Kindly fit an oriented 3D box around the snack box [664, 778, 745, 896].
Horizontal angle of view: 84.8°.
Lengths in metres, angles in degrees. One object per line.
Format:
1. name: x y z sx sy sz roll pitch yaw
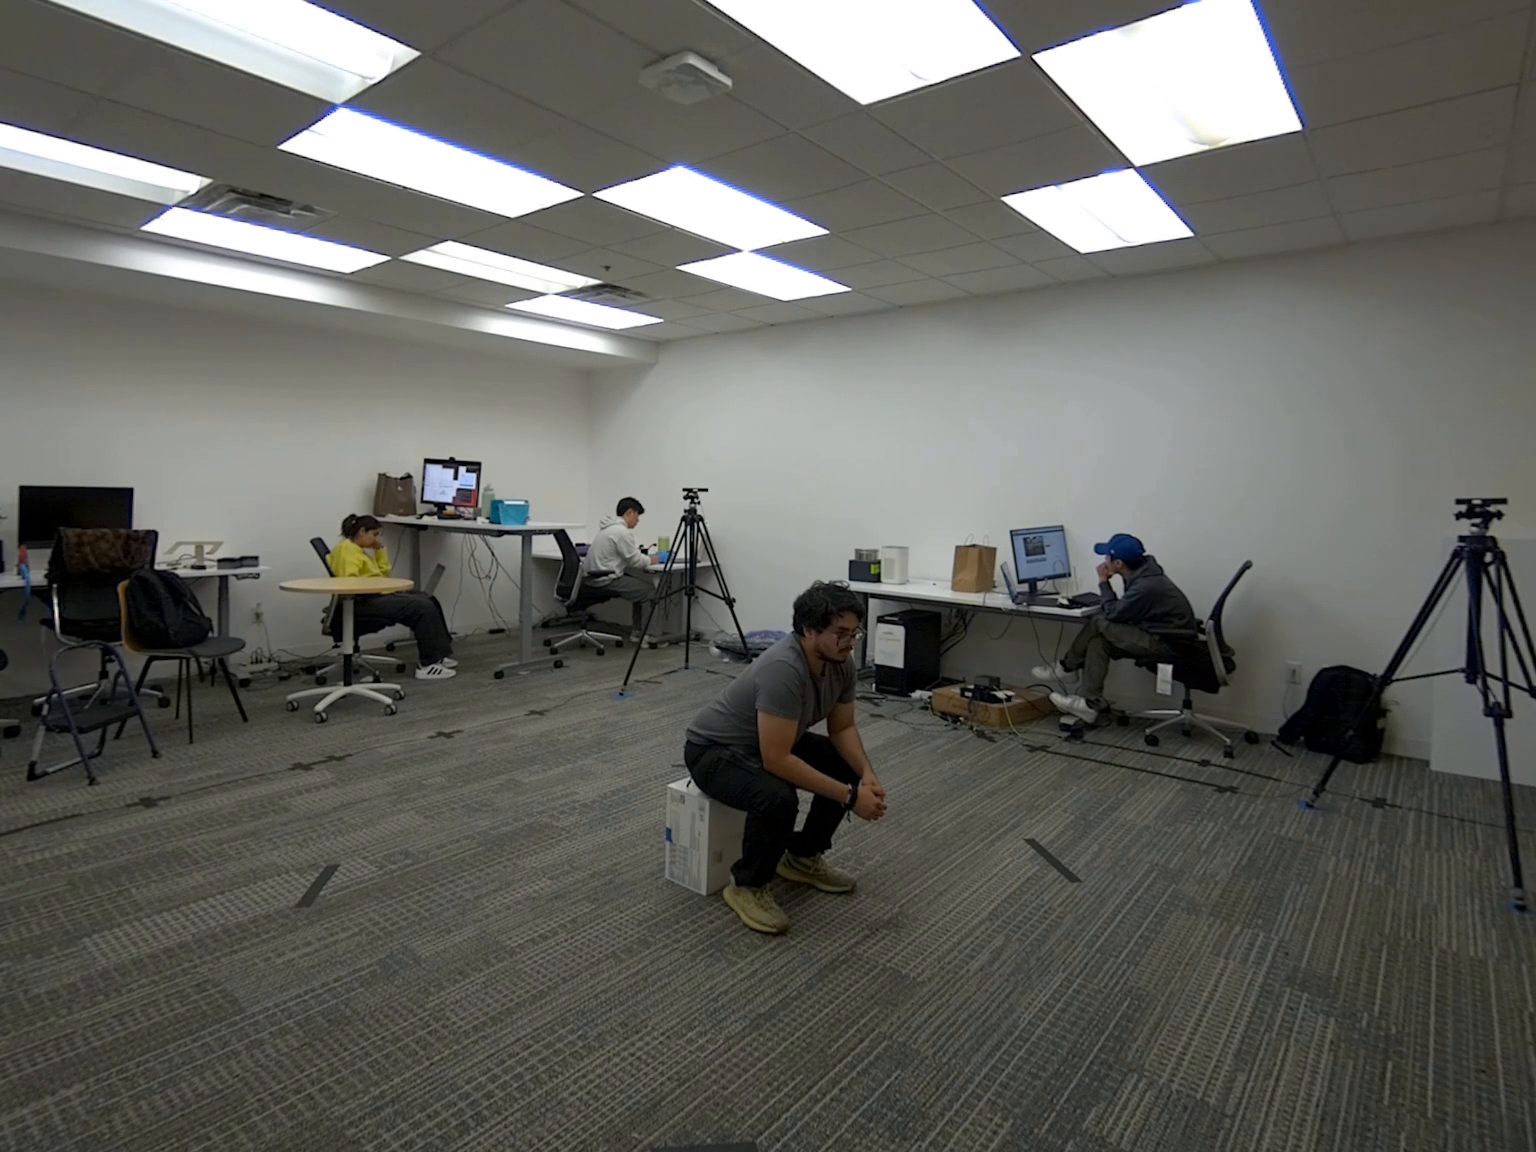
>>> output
1. snack box: -0.172 0.903 3.108 0.212 0.339 0.393 5 6 39
